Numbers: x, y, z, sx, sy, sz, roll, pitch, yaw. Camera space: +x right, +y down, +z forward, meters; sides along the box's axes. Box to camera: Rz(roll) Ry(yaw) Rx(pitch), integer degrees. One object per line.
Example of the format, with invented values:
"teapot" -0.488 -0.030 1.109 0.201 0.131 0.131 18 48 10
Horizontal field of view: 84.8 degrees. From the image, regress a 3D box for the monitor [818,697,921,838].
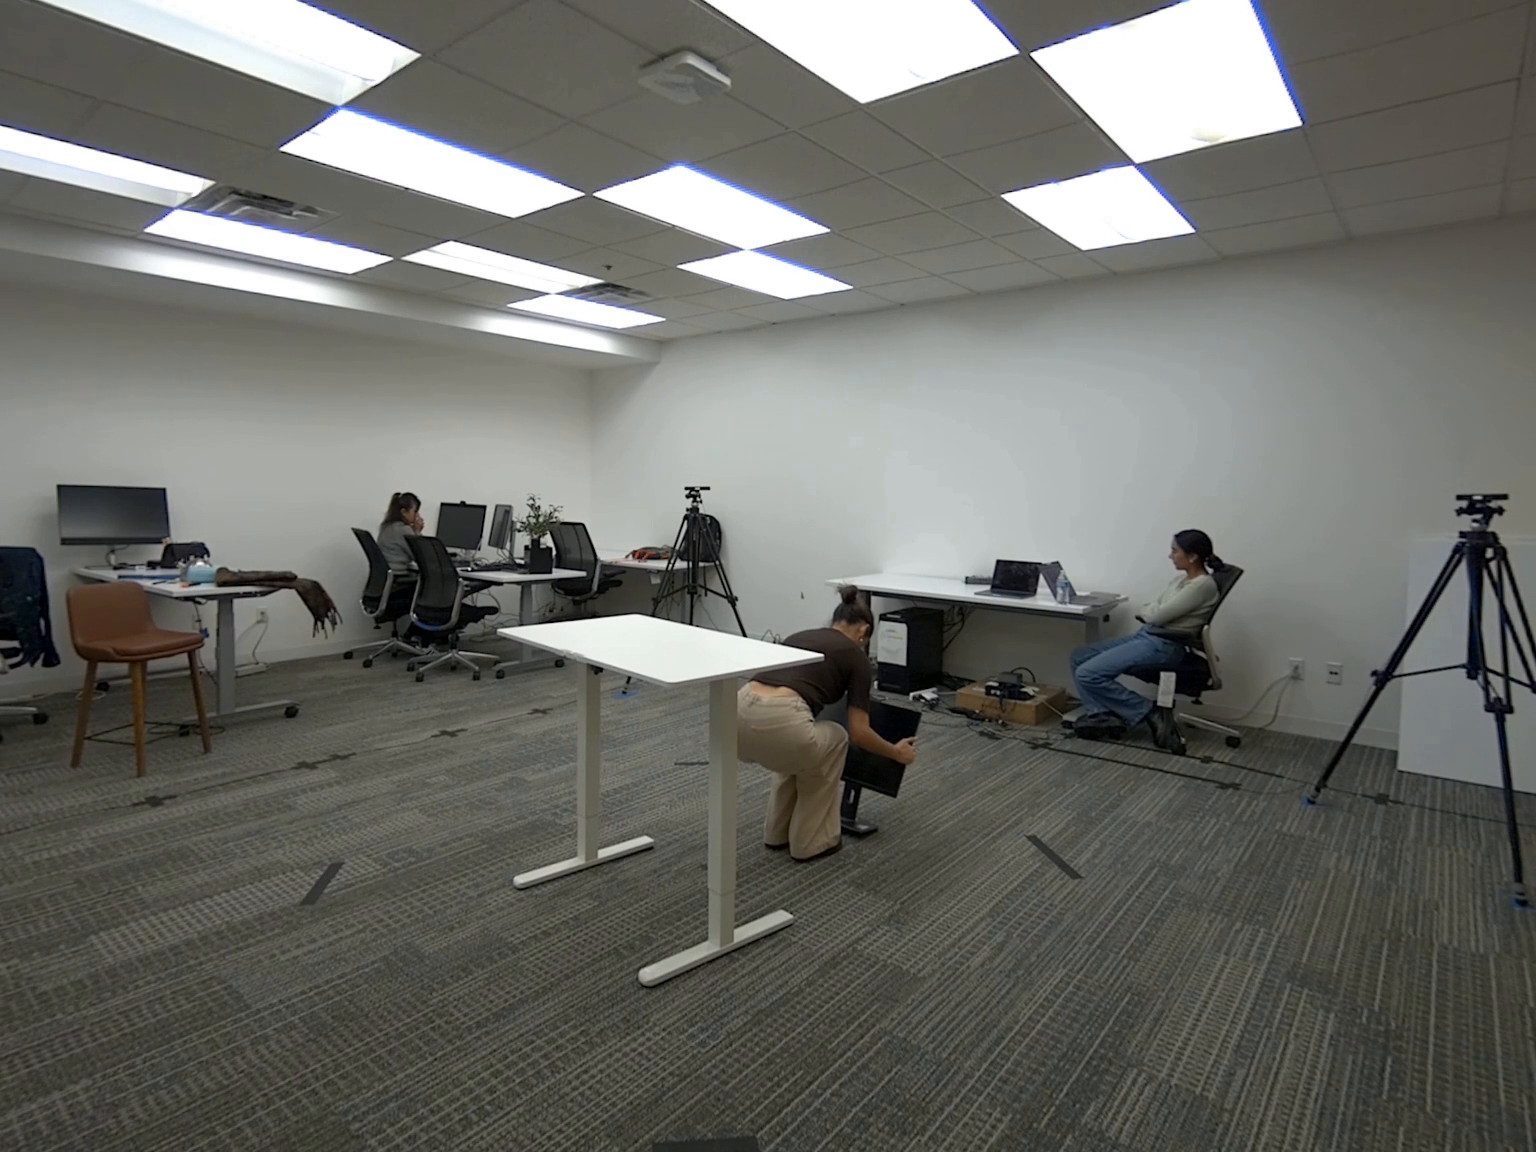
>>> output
"monitor" 0.348 0.774 3.558 0.558 0.525 0.180 7 -6 39
